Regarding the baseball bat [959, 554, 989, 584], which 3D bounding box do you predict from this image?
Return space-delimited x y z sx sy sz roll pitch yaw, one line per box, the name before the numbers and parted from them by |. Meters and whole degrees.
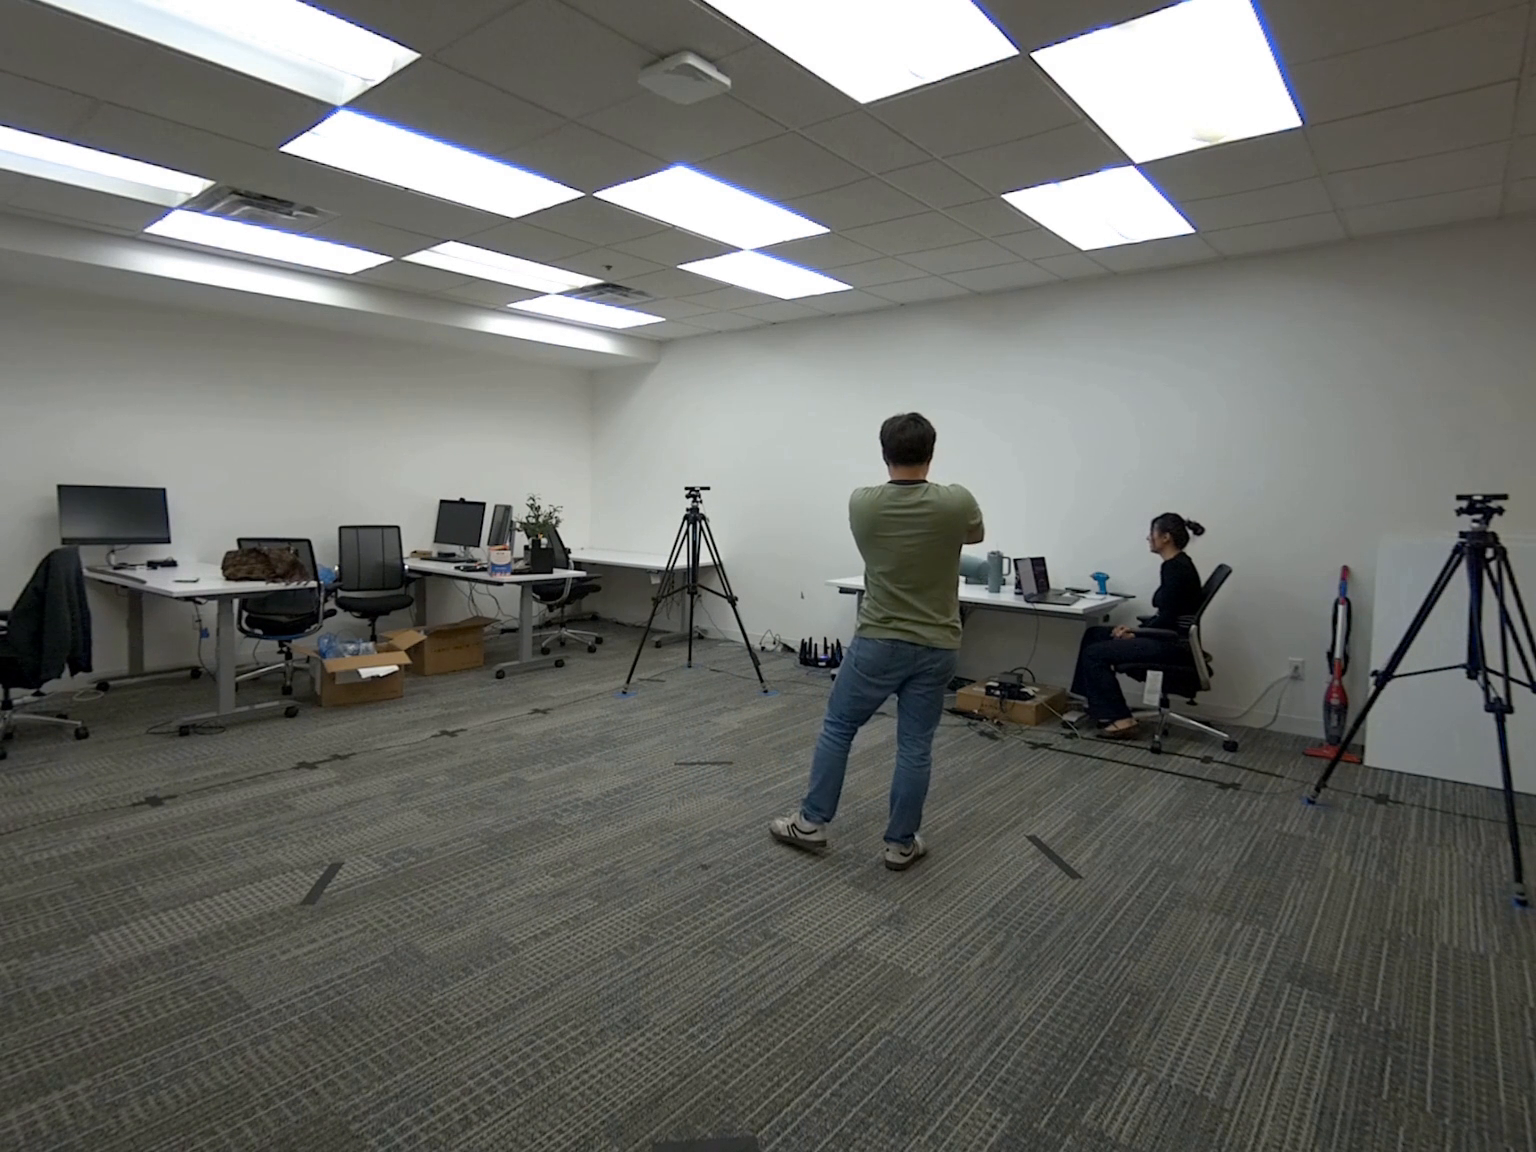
baseball bat | 0.682 -0.076 3.547 0.086 0.088 0.564 -2 13 -37
